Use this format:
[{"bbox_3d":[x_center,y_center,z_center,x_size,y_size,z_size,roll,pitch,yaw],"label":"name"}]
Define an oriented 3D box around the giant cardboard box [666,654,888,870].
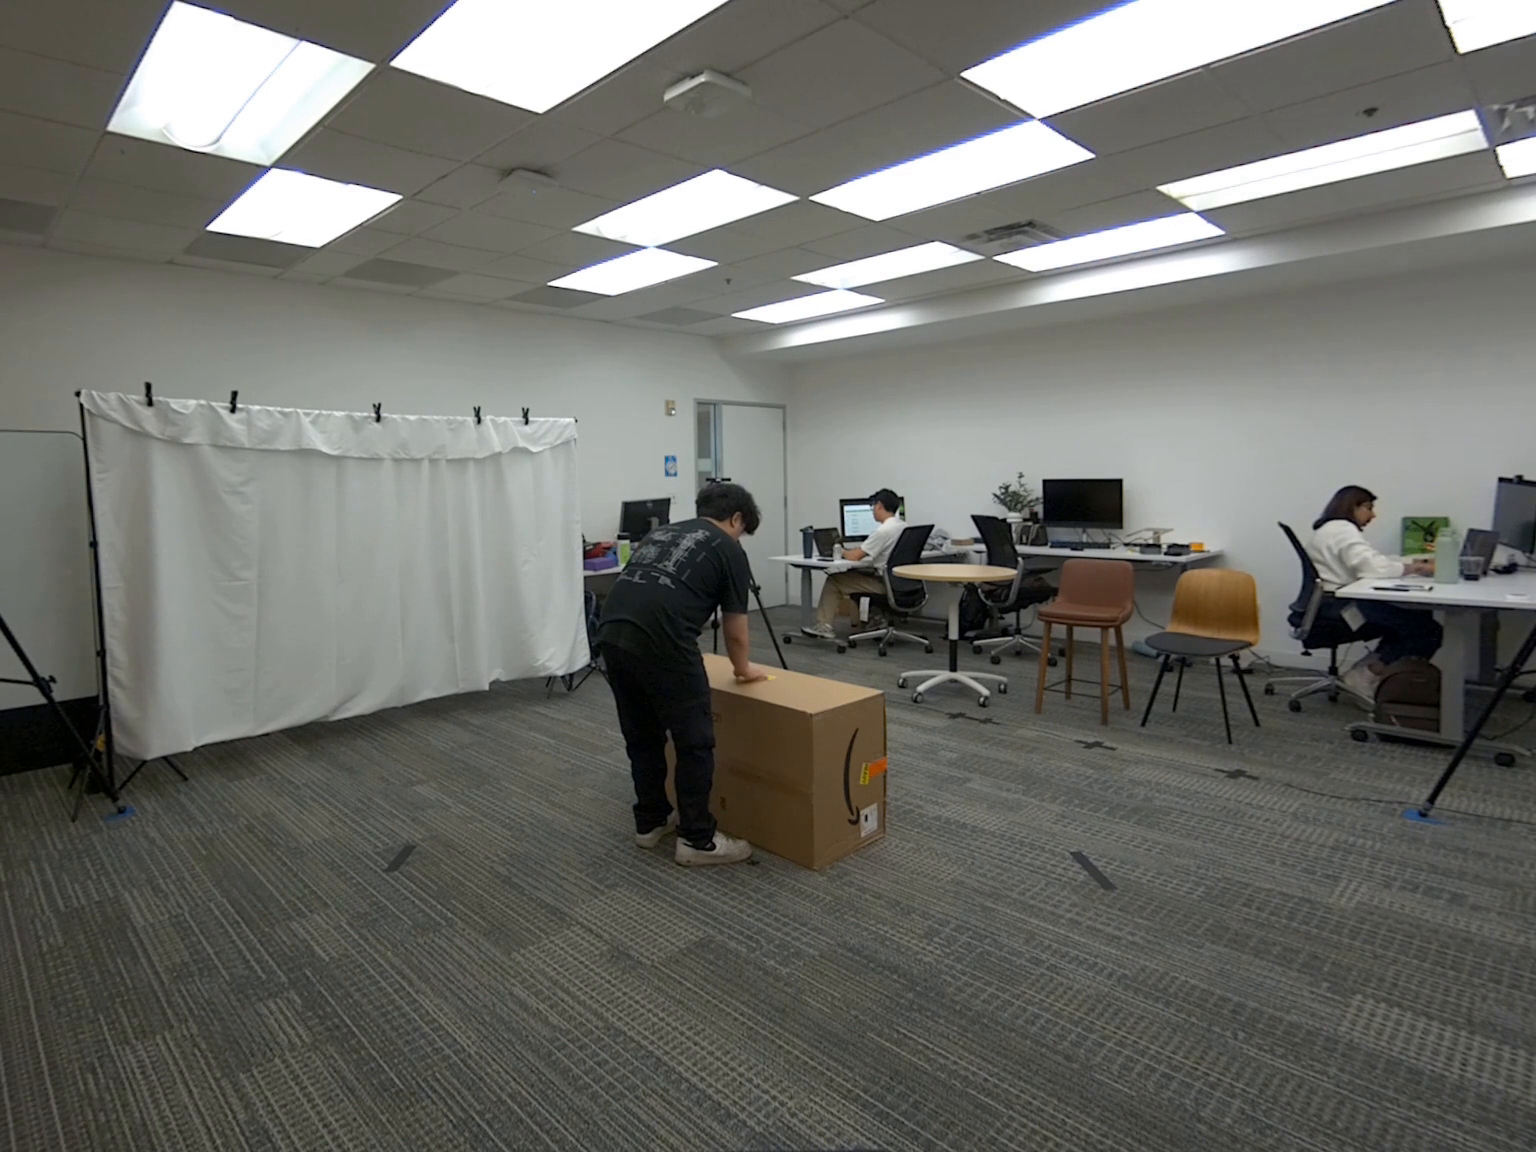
[{"bbox_3d":[-0.054,0.710,3.531,0.435,0.582,1.059,-4,7,-44],"label":"giant cardboard box"}]
